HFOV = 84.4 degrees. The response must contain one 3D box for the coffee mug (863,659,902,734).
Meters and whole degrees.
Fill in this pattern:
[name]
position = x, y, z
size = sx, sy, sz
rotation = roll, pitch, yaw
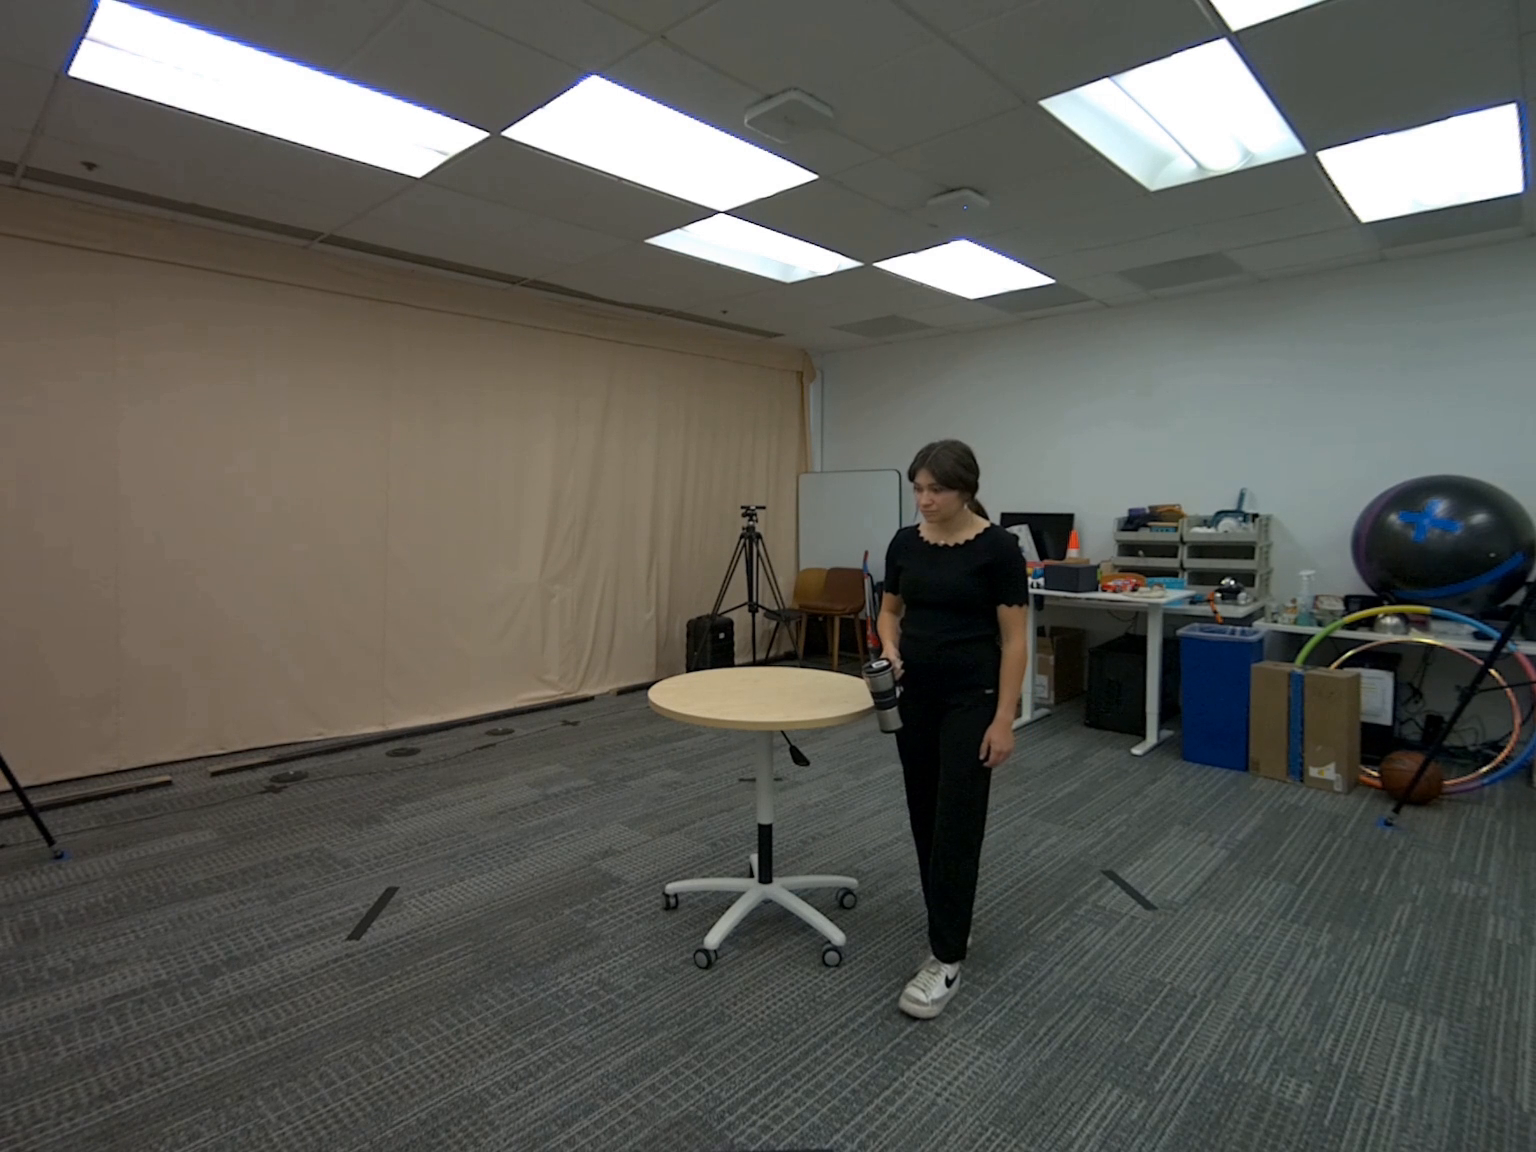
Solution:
[coffee mug]
position = 0.367, 0.346, 2.418
size = 0.120, 0.201, 0.090
rotation = -27, 13, -33
